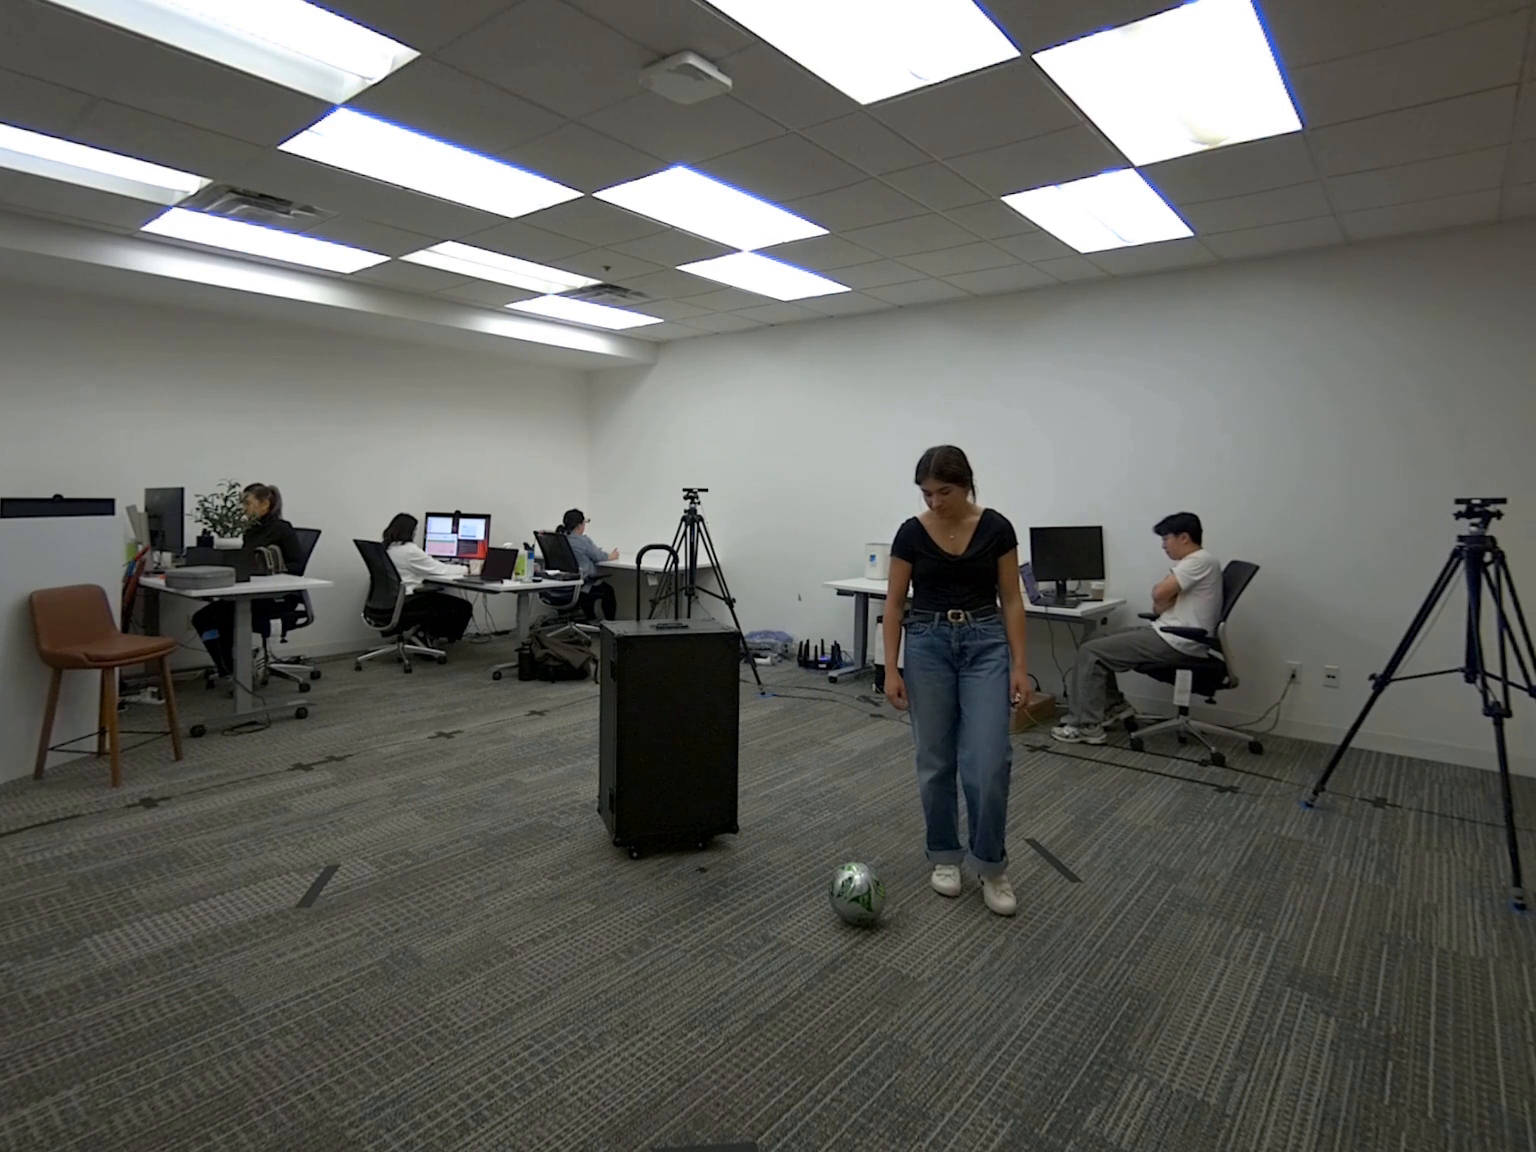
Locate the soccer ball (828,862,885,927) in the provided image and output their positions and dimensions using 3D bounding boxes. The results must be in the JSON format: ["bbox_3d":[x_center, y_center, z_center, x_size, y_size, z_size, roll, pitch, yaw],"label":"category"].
[{"bbox_3d":[0.290,1.018,2.757,0.187,0.187,0.188,1,4,-2],"label":"soccer ball"}]
